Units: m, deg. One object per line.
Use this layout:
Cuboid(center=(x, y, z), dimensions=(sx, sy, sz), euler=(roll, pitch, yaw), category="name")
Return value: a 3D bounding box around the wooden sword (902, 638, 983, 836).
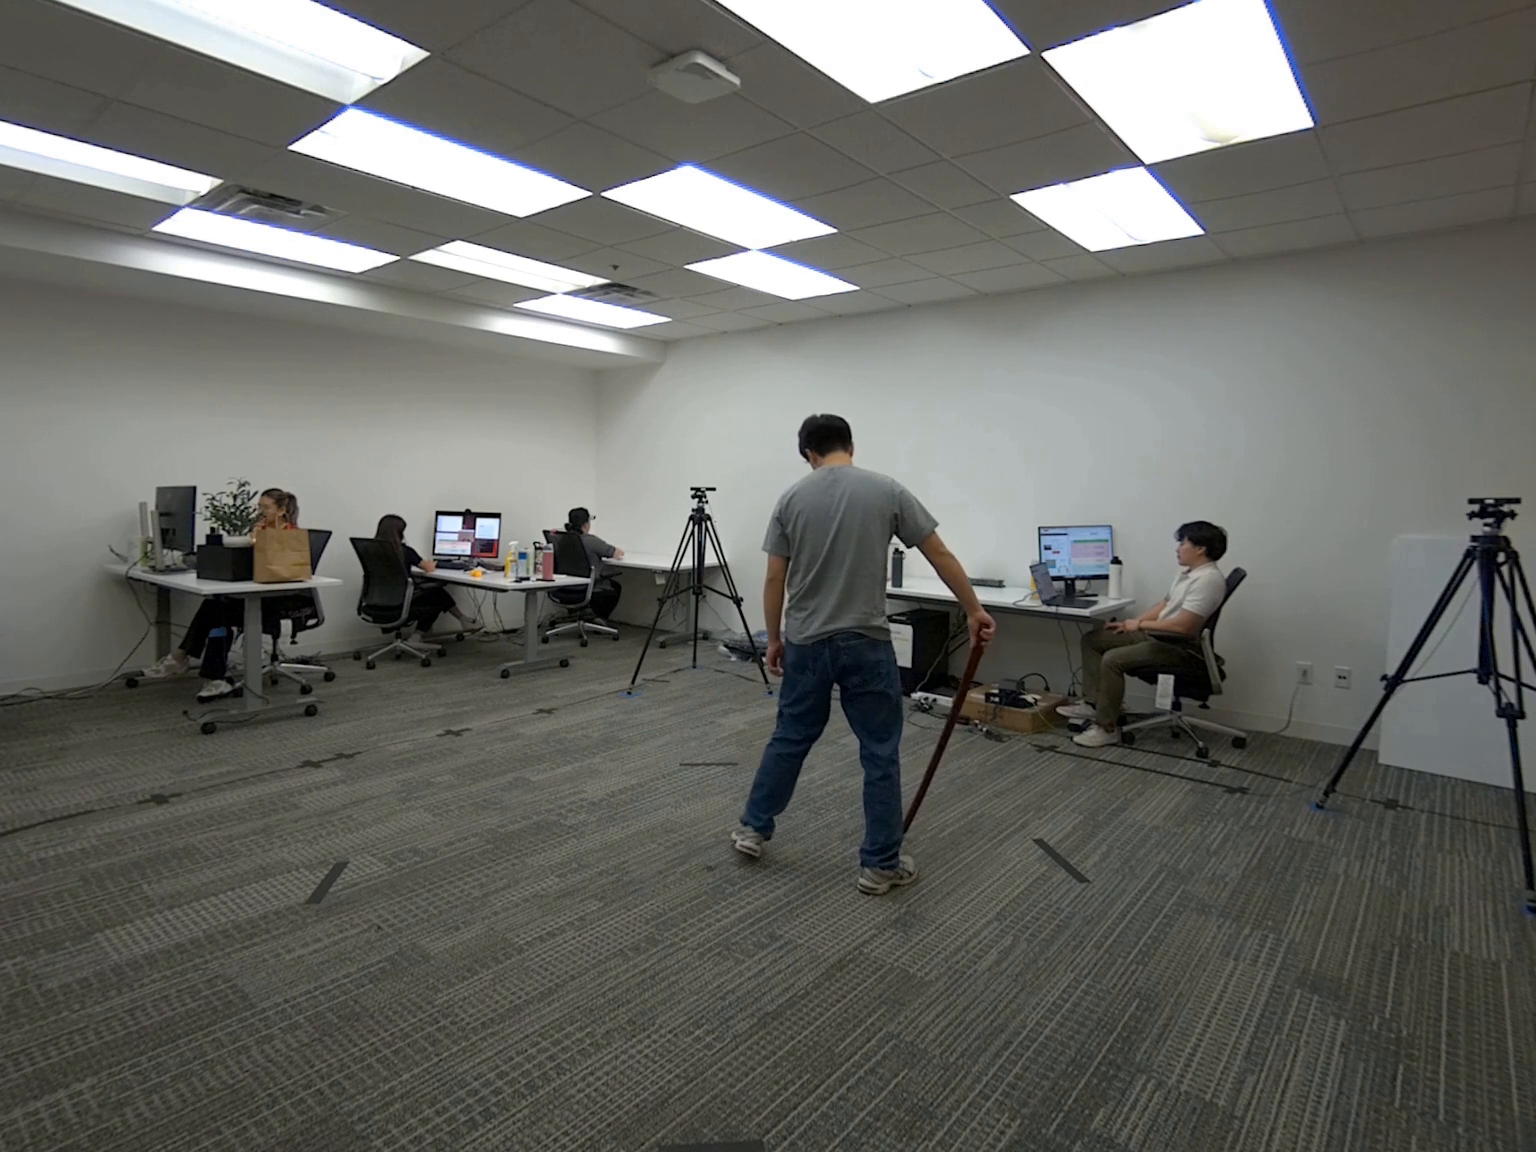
Cuboid(center=(0.649, 0.626, 3.216), dimensions=(0.051, 1.009, 0.024), euler=(15, 27, -4), category="wooden sword")
